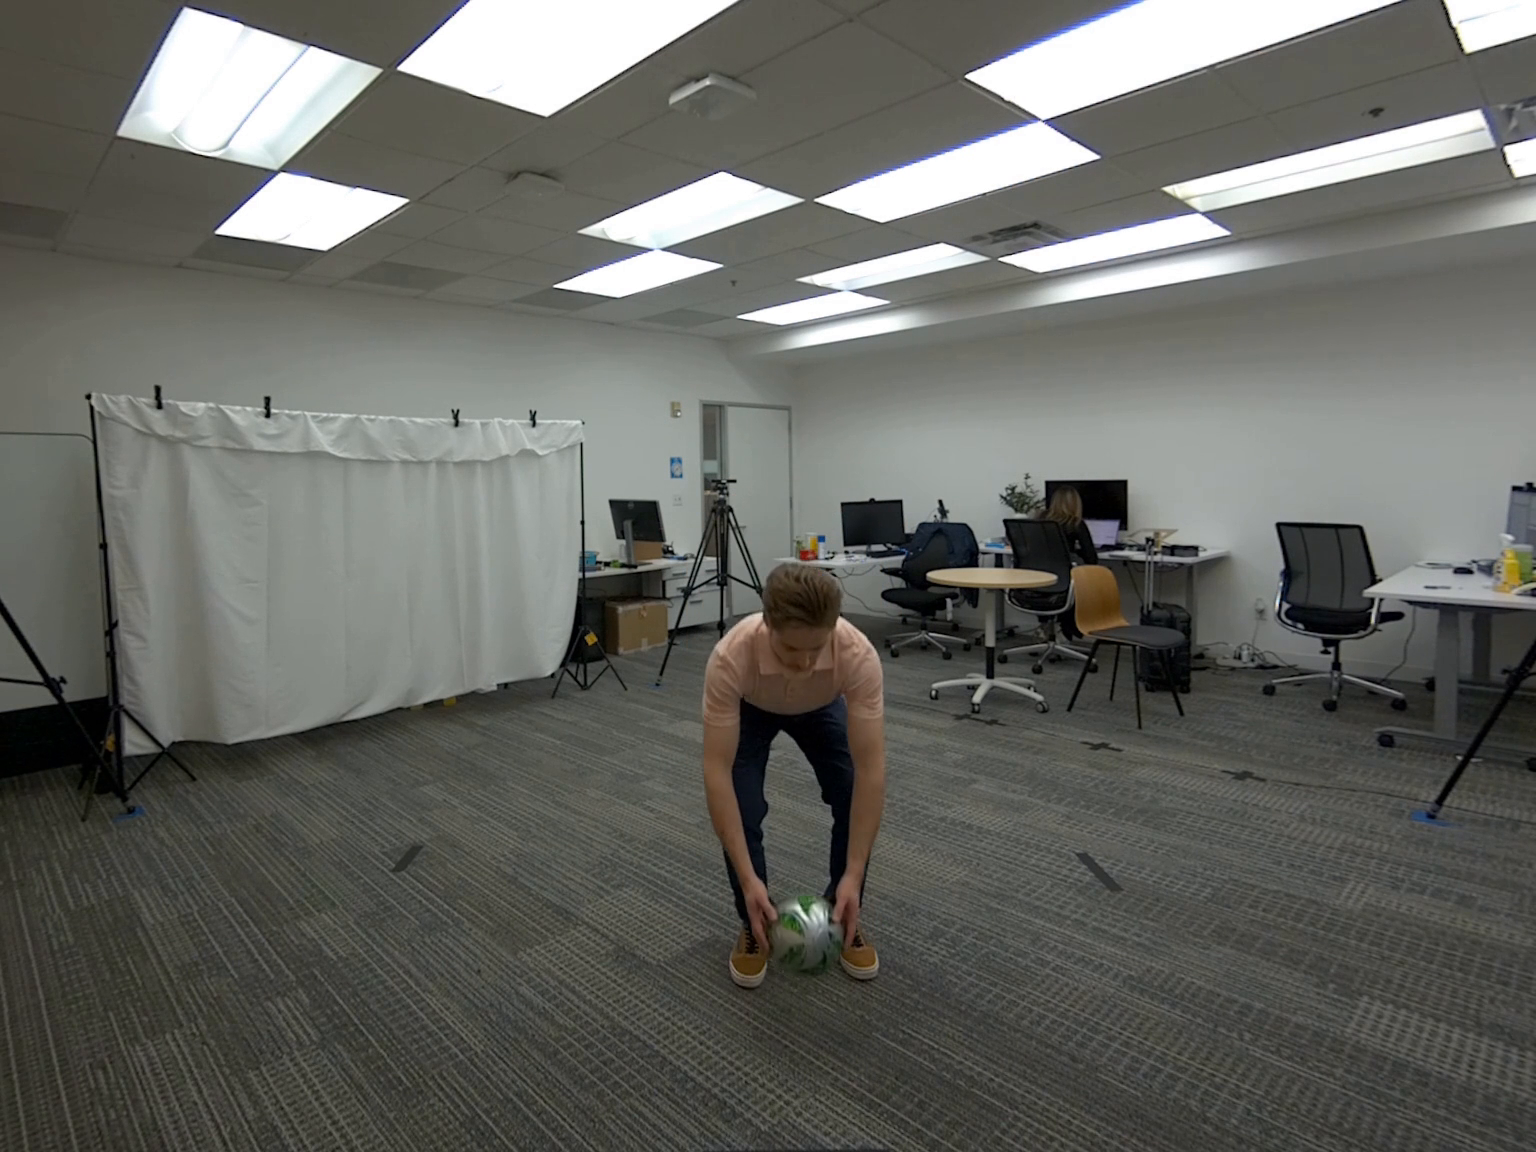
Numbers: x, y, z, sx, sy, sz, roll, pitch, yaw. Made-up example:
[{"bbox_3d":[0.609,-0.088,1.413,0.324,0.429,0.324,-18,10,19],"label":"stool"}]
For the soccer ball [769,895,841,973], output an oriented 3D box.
[{"bbox_3d":[0.081,0.828,2.049,0.187,0.187,0.188,-1,5,-2],"label":"soccer ball"}]
